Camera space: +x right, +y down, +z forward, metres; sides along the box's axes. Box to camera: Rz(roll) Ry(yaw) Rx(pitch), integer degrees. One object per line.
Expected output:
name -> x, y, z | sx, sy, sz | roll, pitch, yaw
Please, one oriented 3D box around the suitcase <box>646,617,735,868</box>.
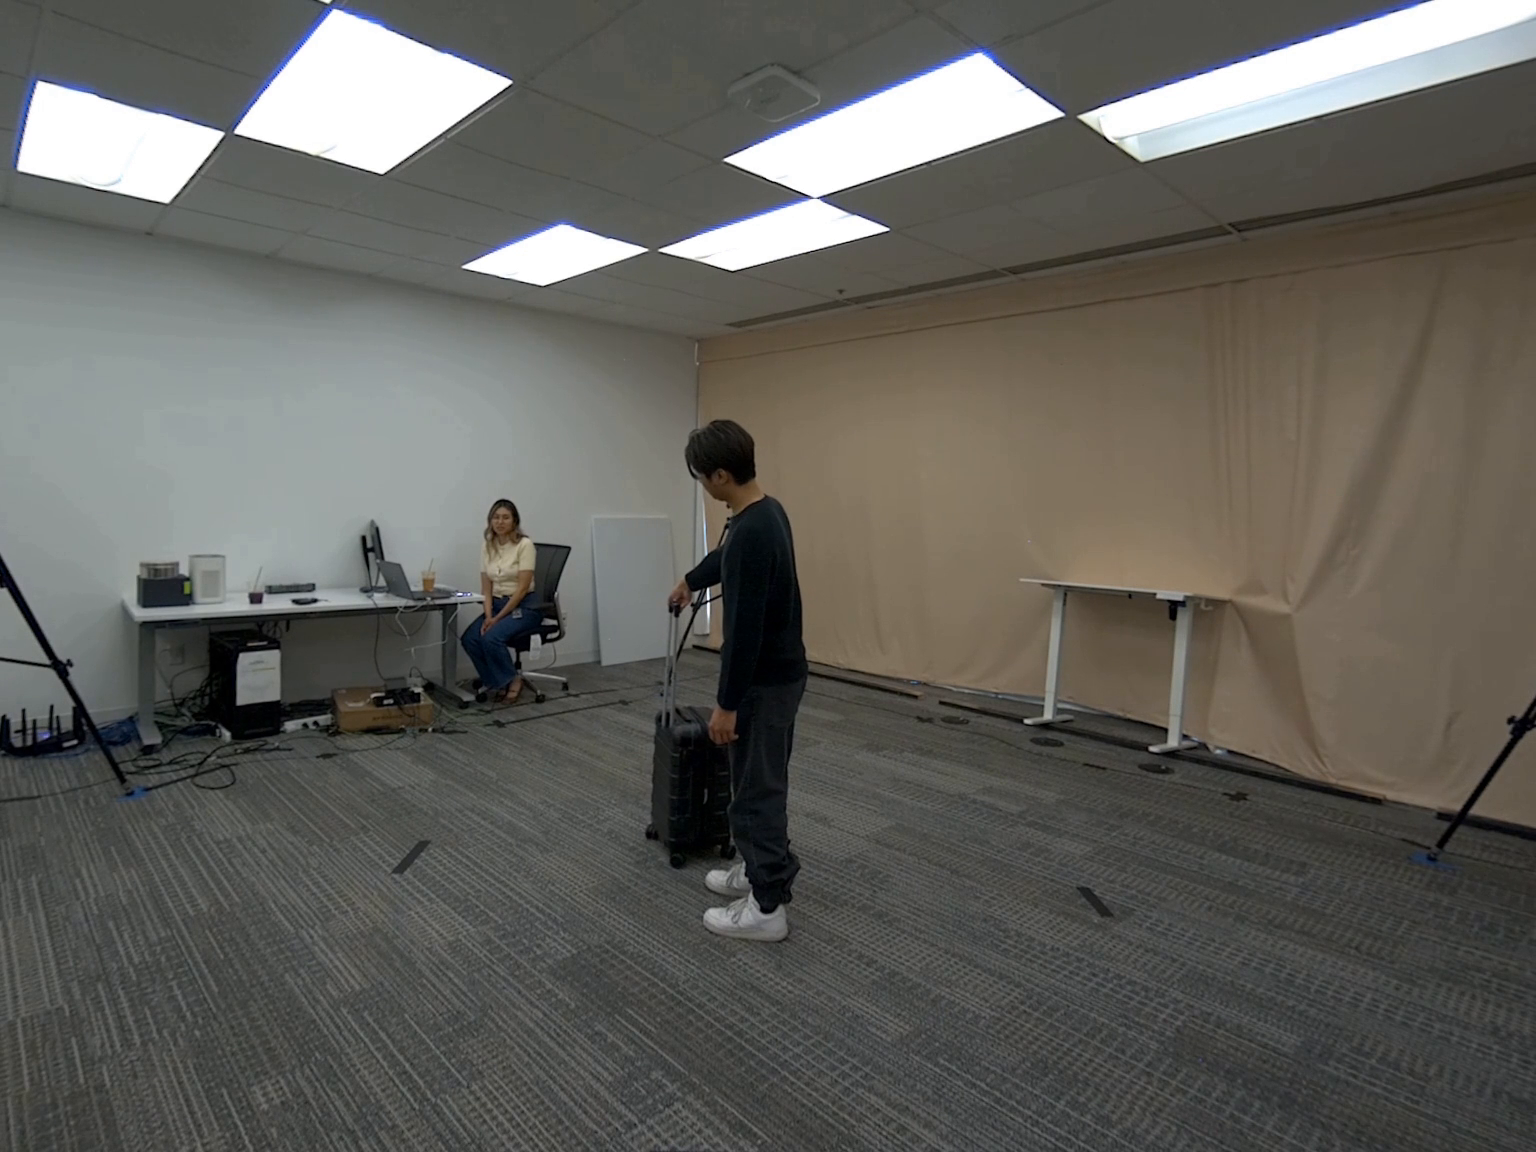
suitcase -> -0.301, 0.605, 3.332 | 0.253, 0.977, 0.390 | 3, 2, -18
